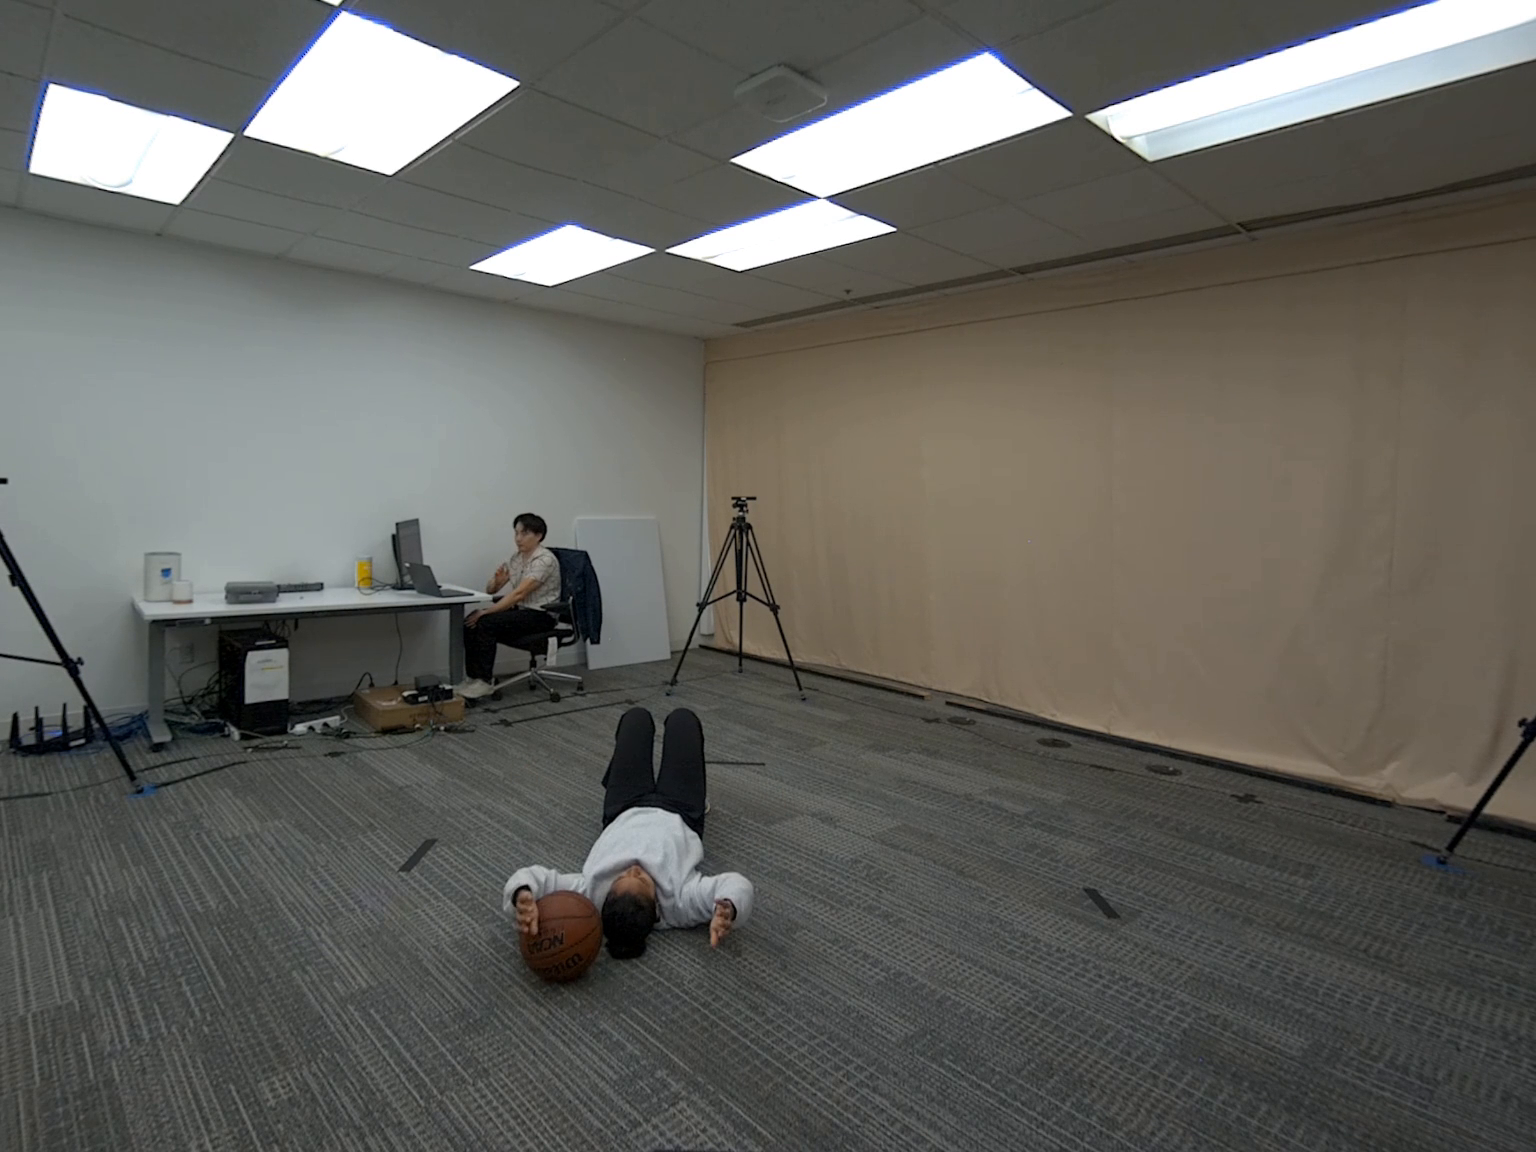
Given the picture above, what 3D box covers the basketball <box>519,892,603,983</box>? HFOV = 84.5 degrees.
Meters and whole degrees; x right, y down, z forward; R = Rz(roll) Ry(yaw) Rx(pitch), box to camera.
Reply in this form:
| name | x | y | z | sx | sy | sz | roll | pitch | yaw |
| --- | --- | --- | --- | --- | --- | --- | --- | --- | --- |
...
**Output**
| name | x | y | z | sx | sy | sz | roll | pitch | yaw |
| --- | --- | --- | --- | --- | --- | --- | --- | --- | --- |
| basketball | -0.607 | 1.037 | 2.424 | 0.236 | 0.235 | 0.237 | 1 | 4 | -1 |
